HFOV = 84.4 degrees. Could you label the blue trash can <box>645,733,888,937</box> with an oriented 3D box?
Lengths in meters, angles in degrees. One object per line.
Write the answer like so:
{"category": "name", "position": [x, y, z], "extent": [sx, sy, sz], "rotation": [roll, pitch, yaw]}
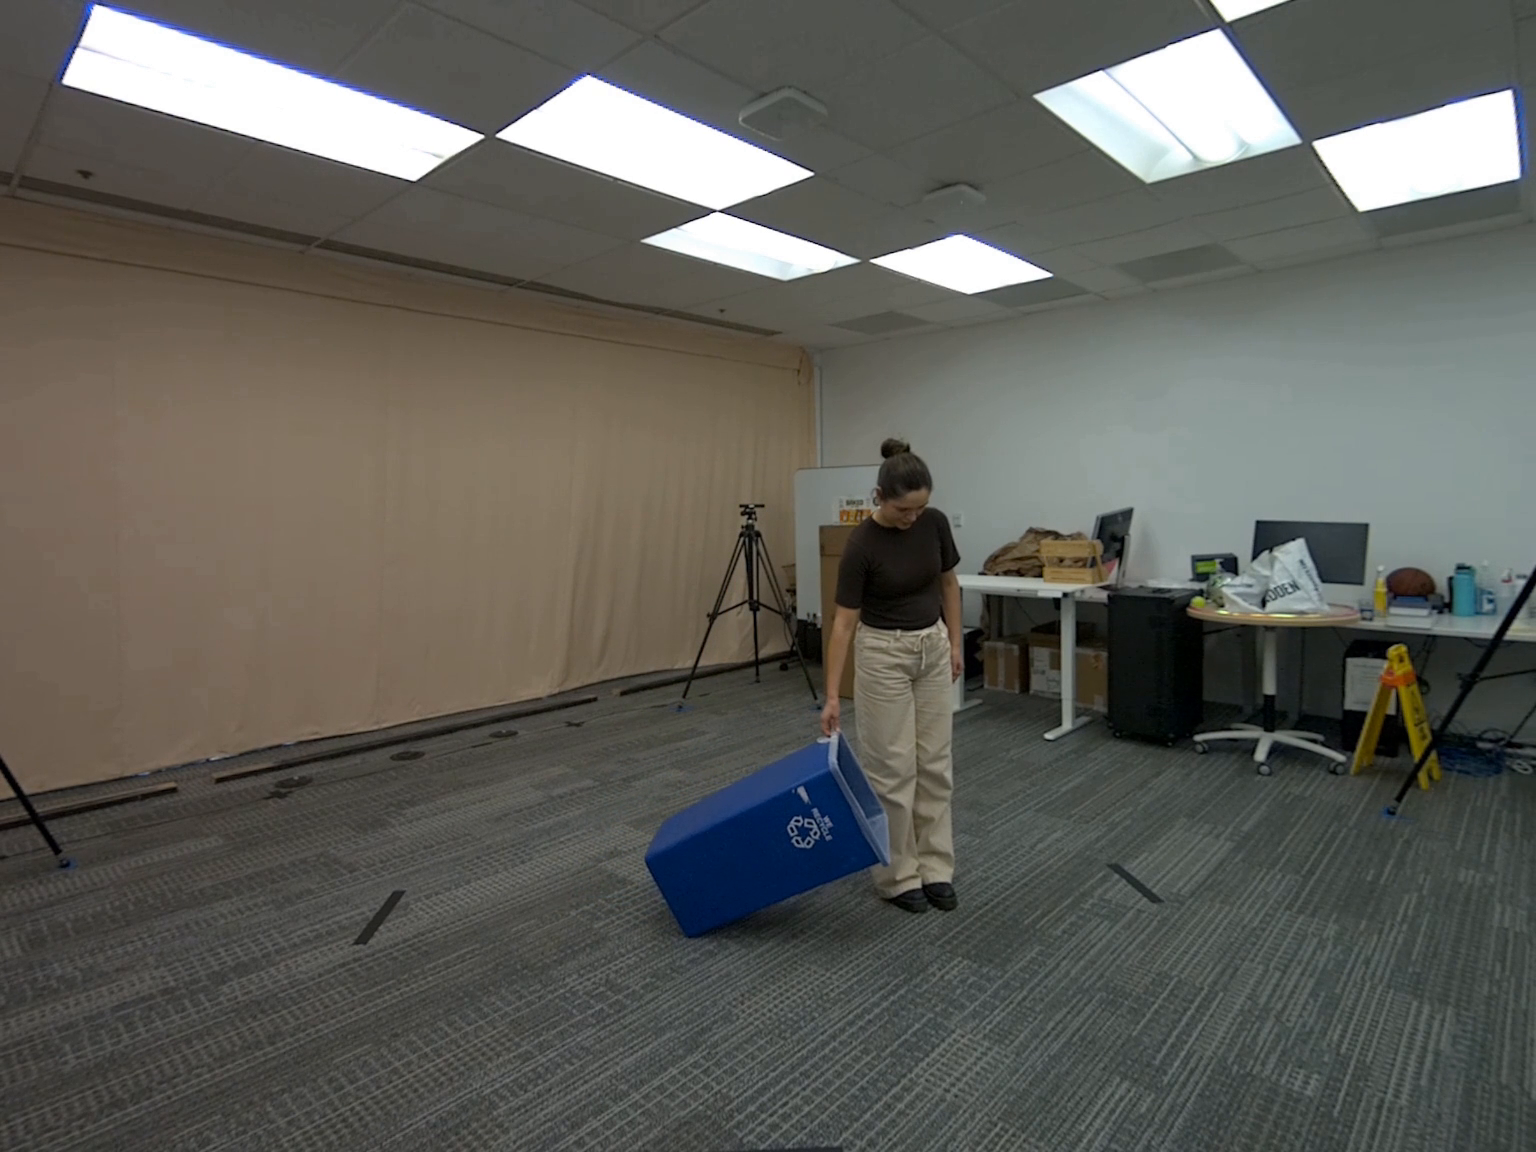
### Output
{"category": "blue trash can", "position": [0.000, 0.857, 2.771], "extent": [0.718, 0.373, 0.376], "rotation": [-28, 3, 10]}
